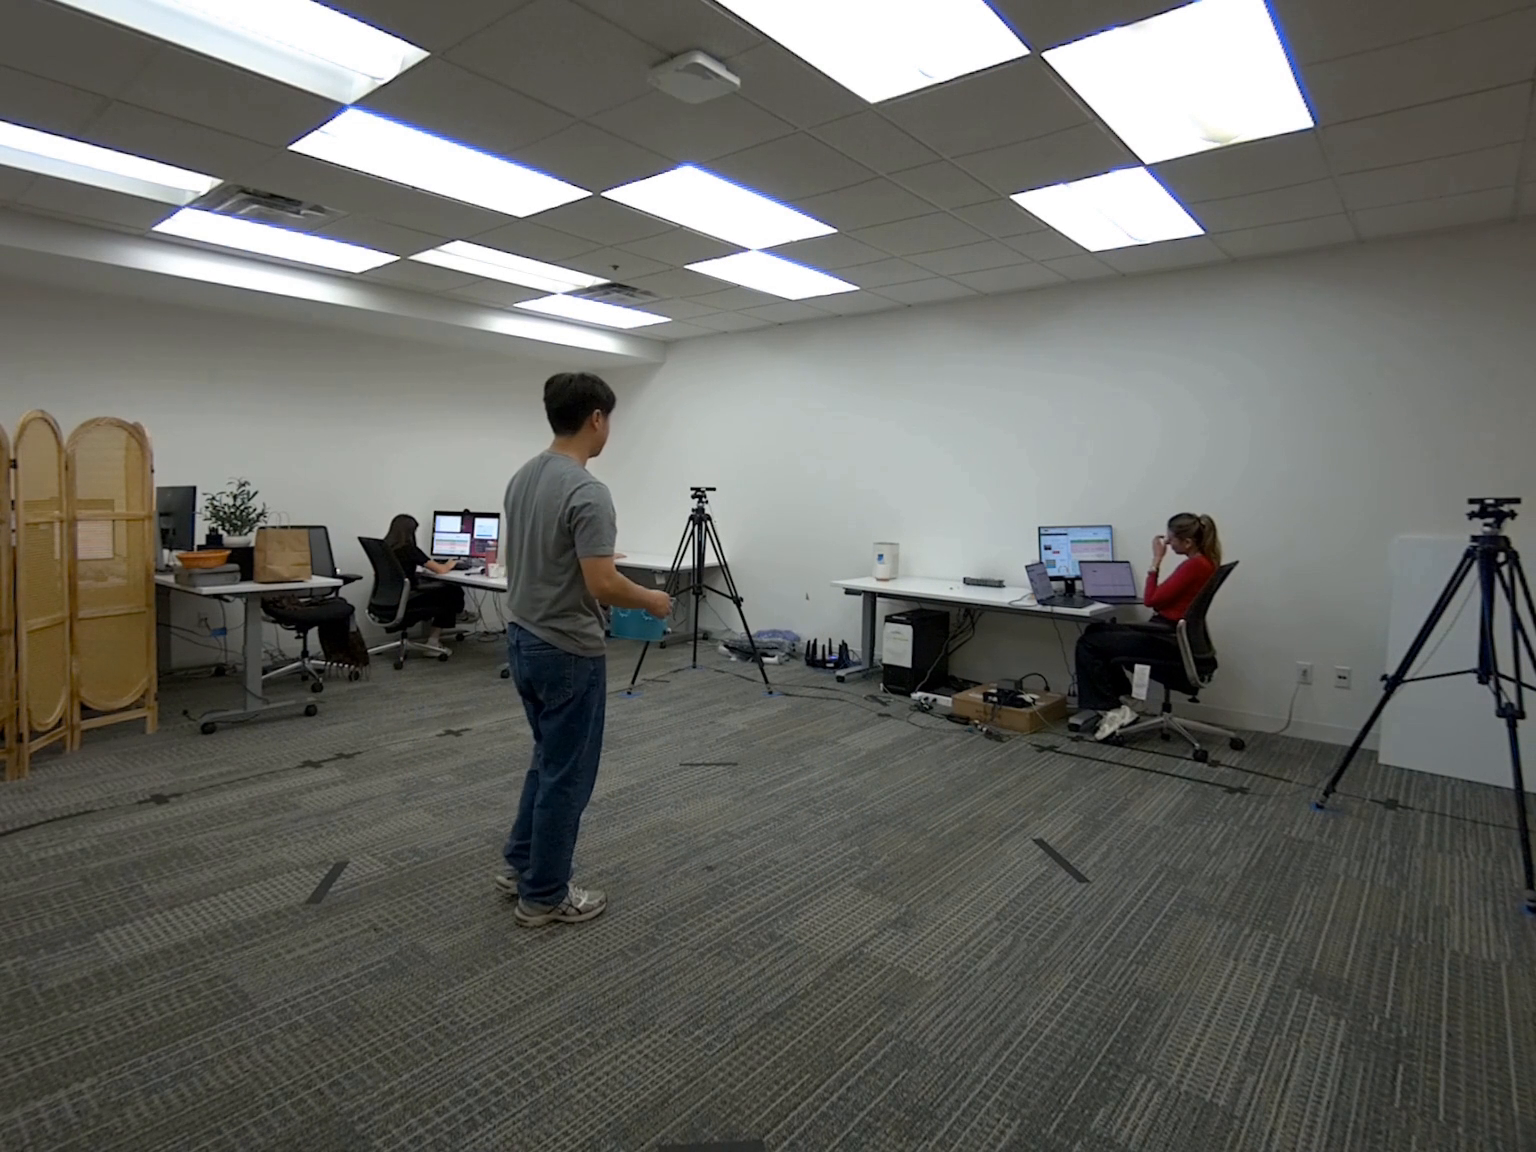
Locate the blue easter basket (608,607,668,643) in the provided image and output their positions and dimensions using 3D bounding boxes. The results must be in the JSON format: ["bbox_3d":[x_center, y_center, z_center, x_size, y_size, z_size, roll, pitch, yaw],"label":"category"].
[{"bbox_3d":[-0.459,0.144,2.925,0.243,0.156,0.243,6,-1,-2],"label":"blue easter basket"}]
